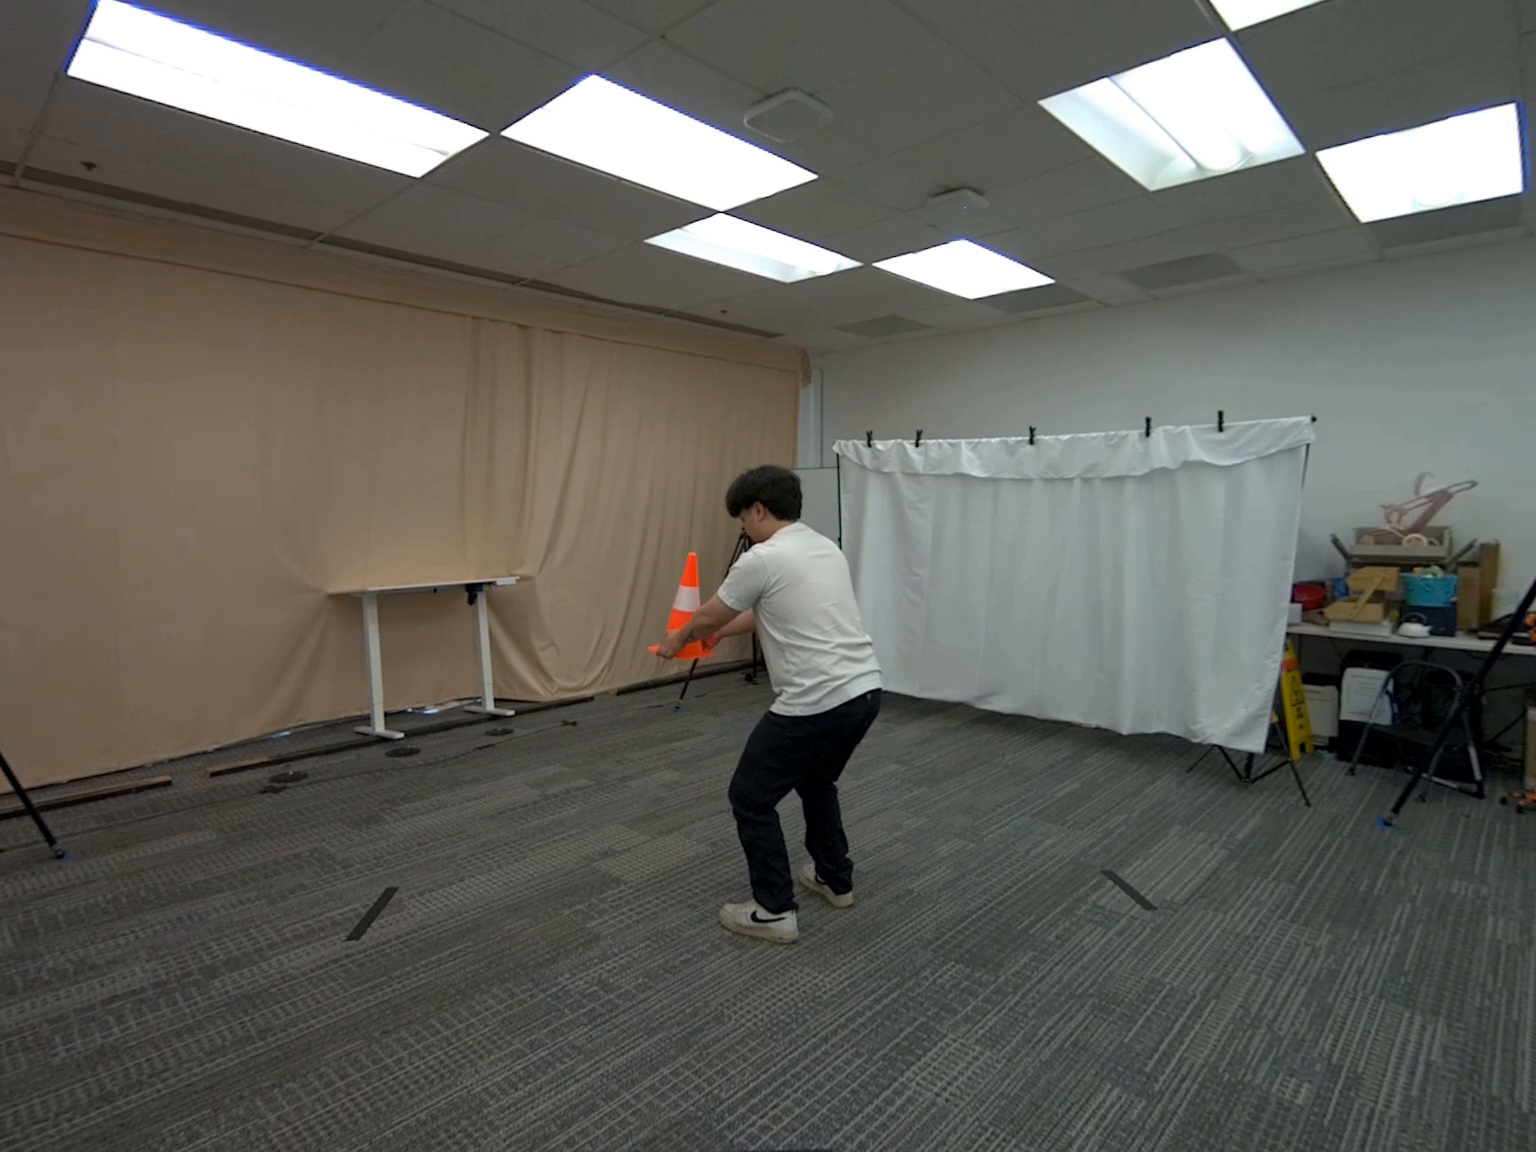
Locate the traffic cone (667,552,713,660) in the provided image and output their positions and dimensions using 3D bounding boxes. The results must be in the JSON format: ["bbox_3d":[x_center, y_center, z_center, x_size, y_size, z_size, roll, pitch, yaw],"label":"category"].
[{"bbox_3d":[-0.312,0.103,3.200,0.209,0.382,0.200,11,9,25],"label":"traffic cone"}]
